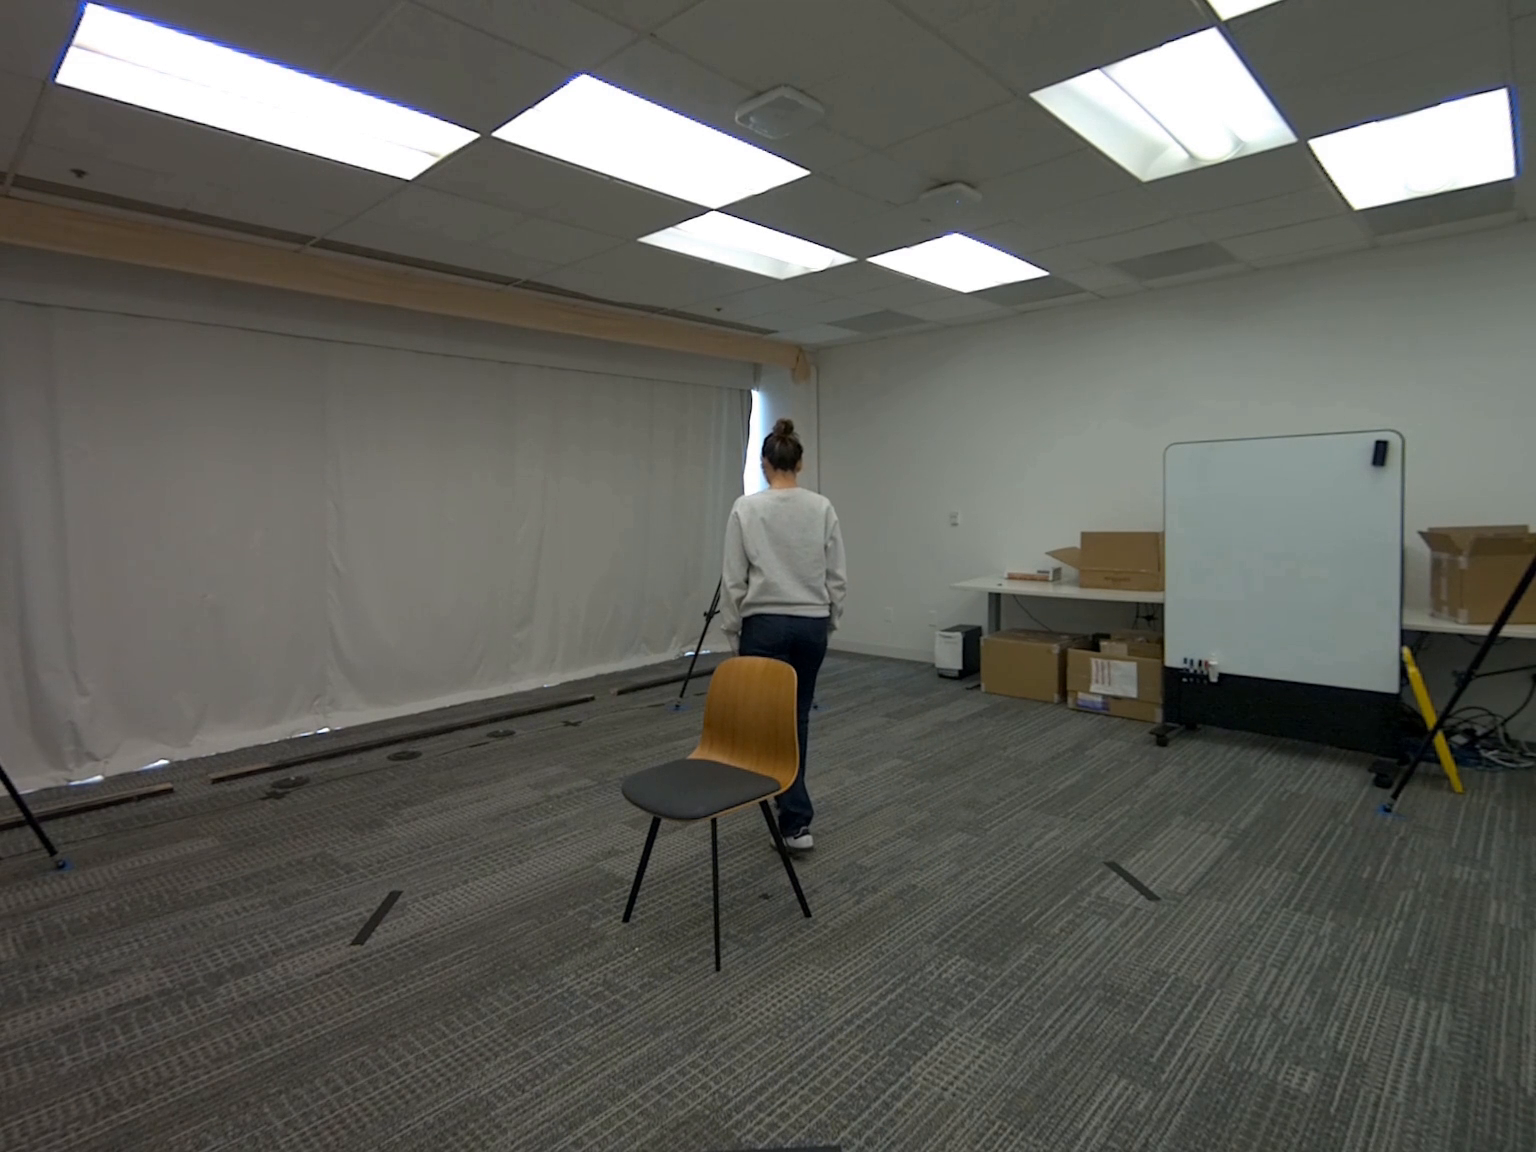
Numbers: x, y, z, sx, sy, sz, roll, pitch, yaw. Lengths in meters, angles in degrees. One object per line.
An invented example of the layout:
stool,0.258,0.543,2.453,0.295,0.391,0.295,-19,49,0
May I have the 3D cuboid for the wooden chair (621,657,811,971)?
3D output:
wooden chair,-0.178,0.730,2.791,0.494,0.877,0.506,3,1,43
